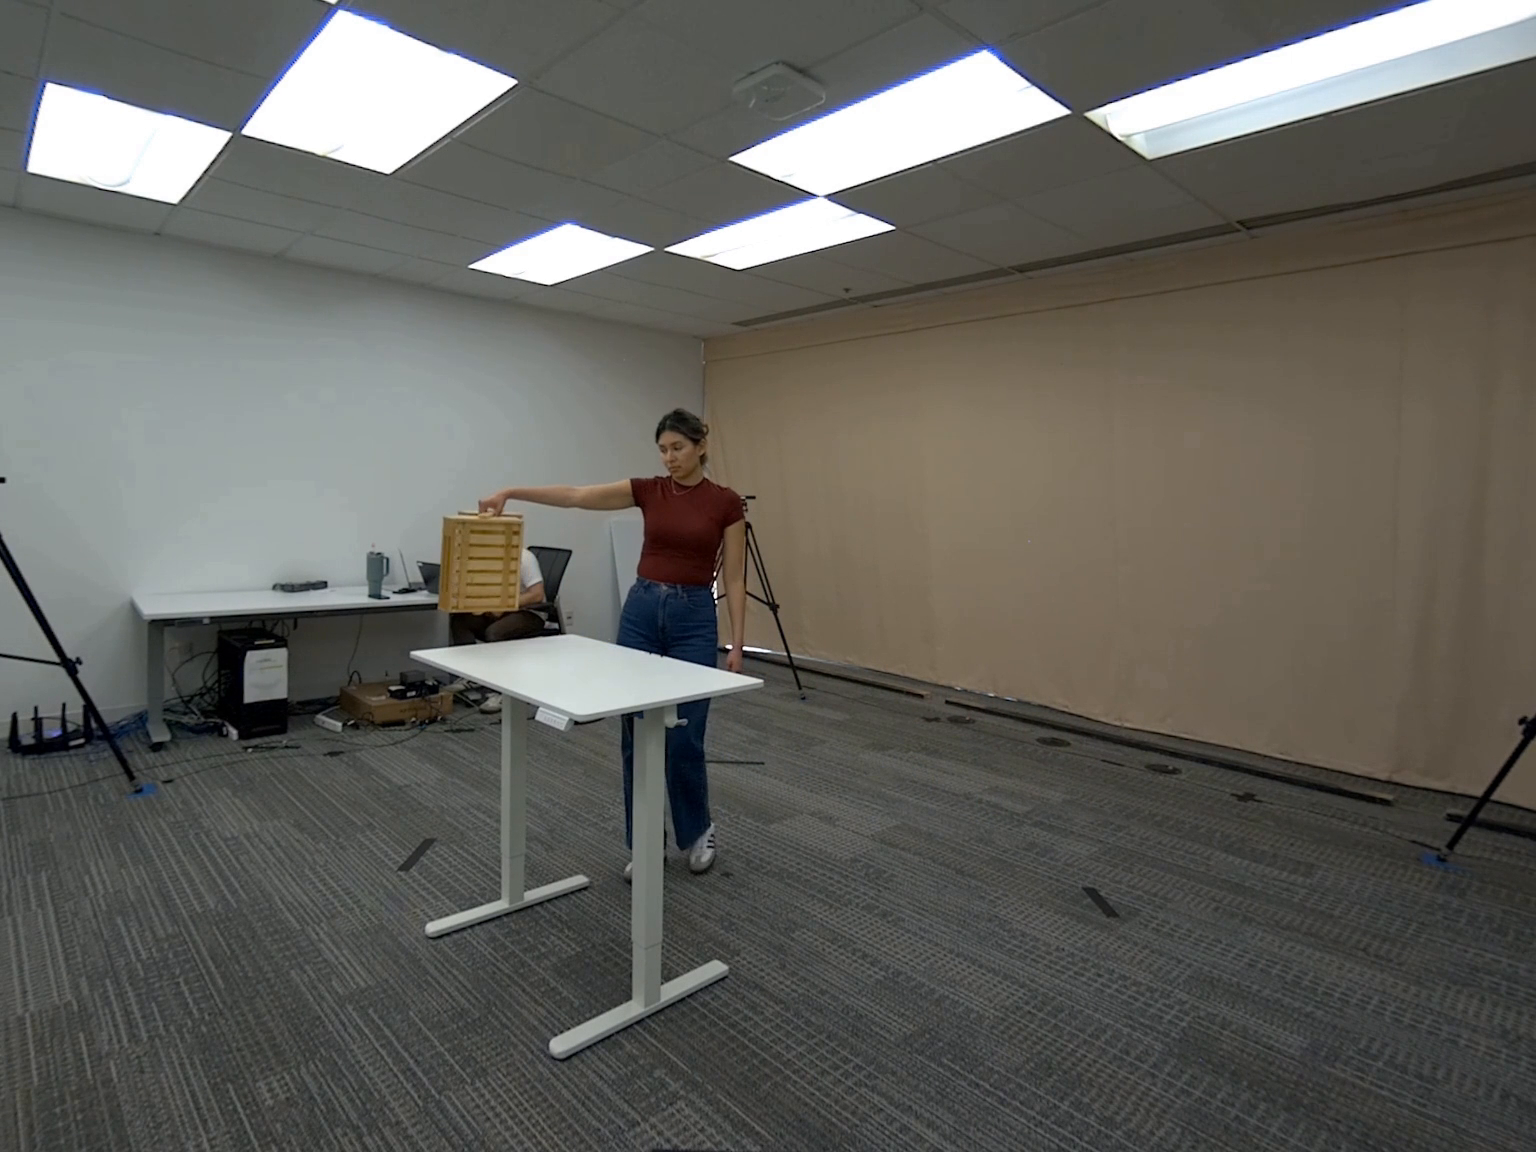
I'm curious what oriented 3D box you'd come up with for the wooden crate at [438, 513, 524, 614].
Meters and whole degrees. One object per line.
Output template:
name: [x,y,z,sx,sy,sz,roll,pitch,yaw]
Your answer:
wooden crate: [-0.982,-0.053,2.830,0.295,0.323,0.280,1,8,-34]
